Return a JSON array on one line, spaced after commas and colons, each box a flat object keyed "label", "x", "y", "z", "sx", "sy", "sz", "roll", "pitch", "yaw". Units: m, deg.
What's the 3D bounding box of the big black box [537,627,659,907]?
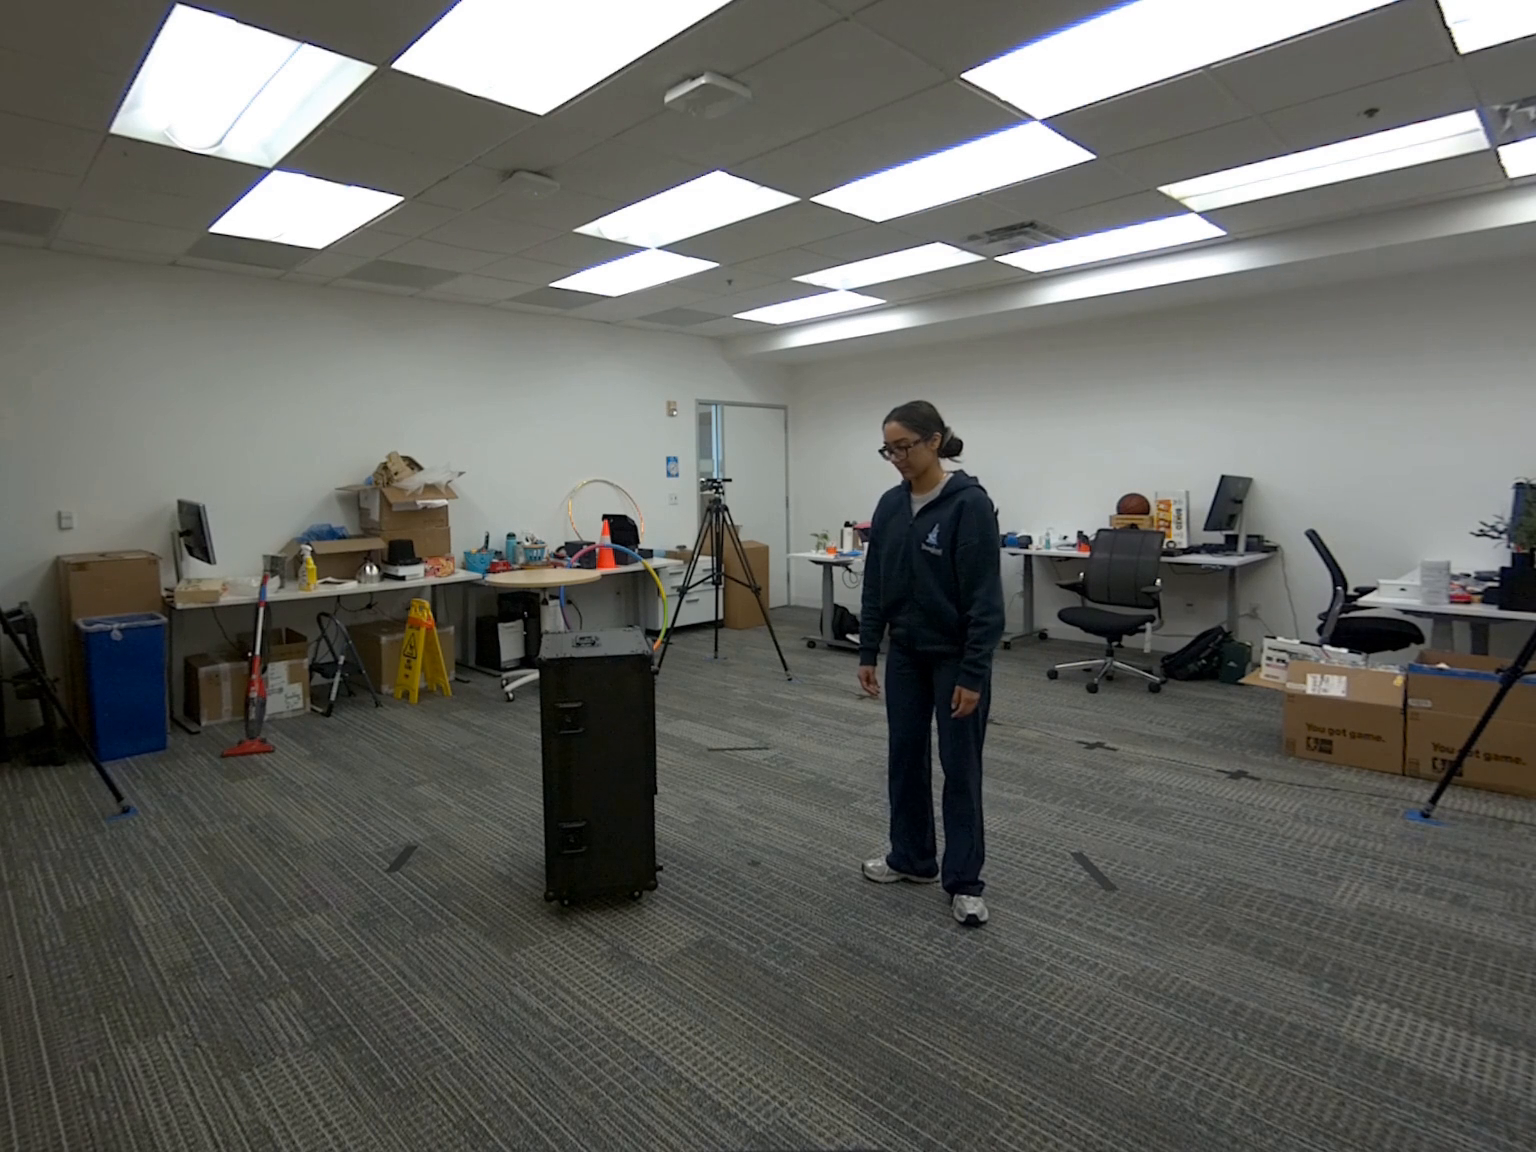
[{"label": "big black box", "x": -0.583, "y": 0.641, "z": 2.958, "sx": 0.392, "sy": 0.859, "sz": 0.529, "roll": -1, "pitch": 3, "yaw": -13}]
